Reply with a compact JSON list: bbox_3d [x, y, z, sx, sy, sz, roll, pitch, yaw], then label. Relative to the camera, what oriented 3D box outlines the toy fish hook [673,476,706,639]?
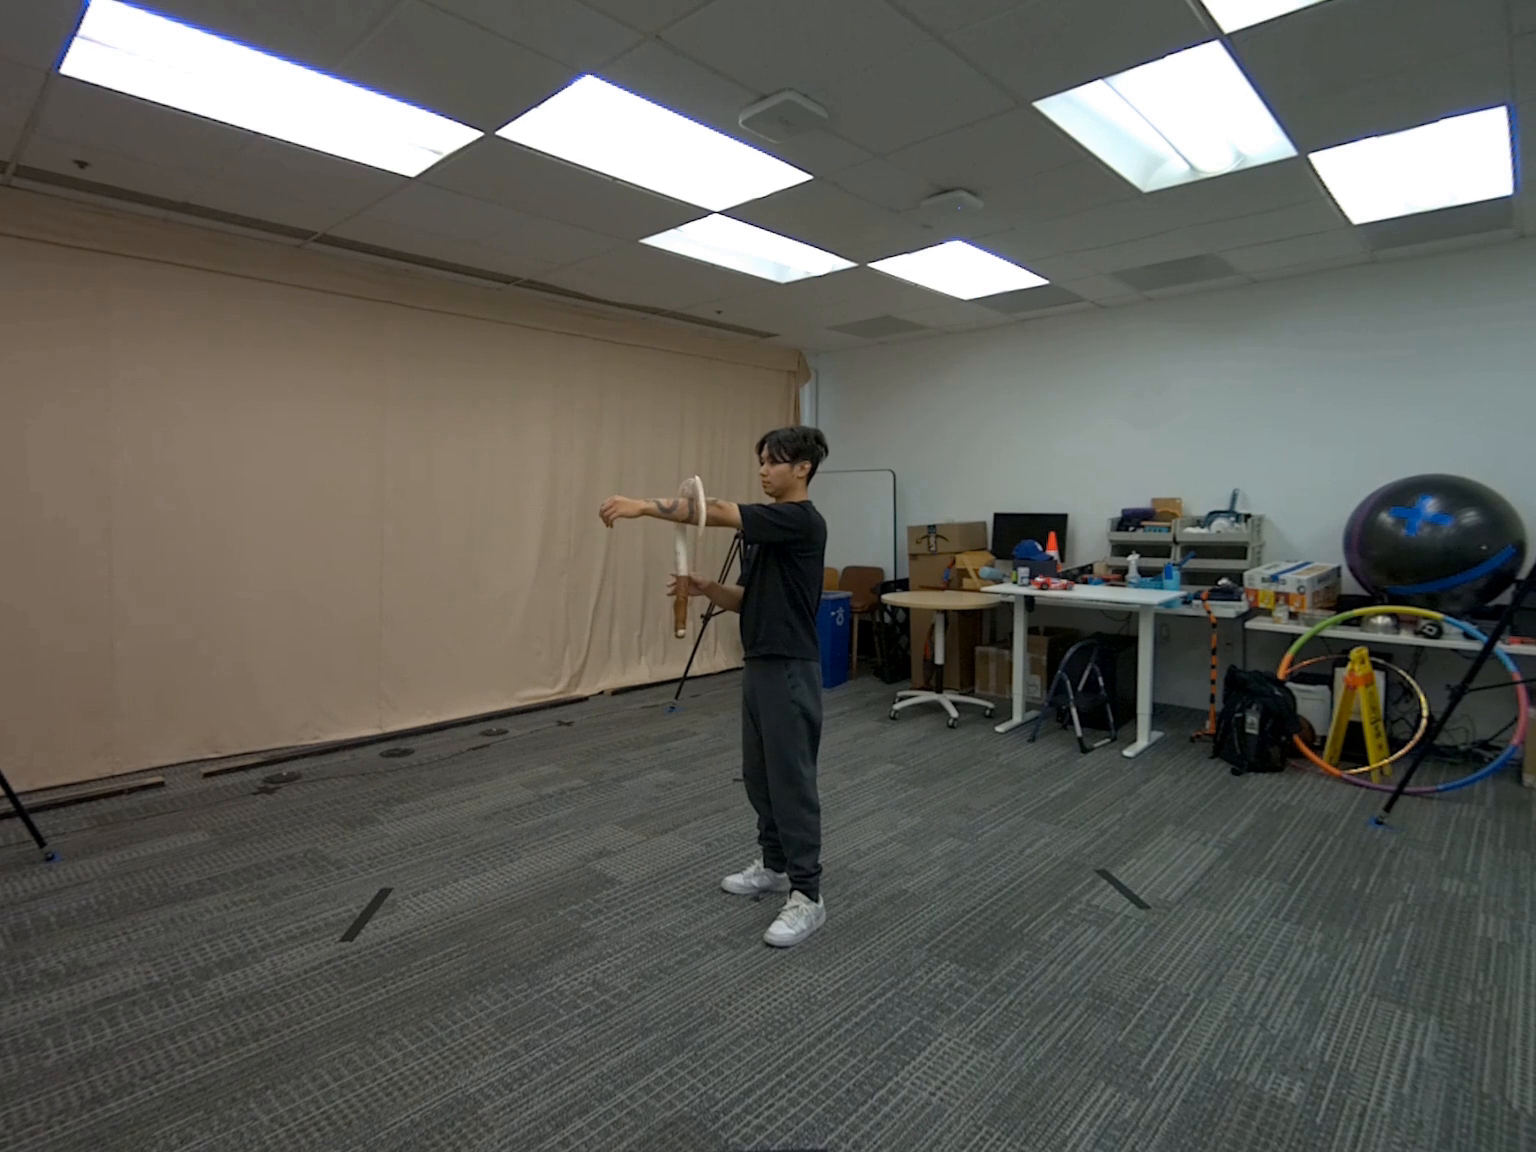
[{"bbox_3d":[-0.248,-0.058,2.645,0.047,0.507,0.229,2,-2,-20],"label":"toy fish hook"}]
